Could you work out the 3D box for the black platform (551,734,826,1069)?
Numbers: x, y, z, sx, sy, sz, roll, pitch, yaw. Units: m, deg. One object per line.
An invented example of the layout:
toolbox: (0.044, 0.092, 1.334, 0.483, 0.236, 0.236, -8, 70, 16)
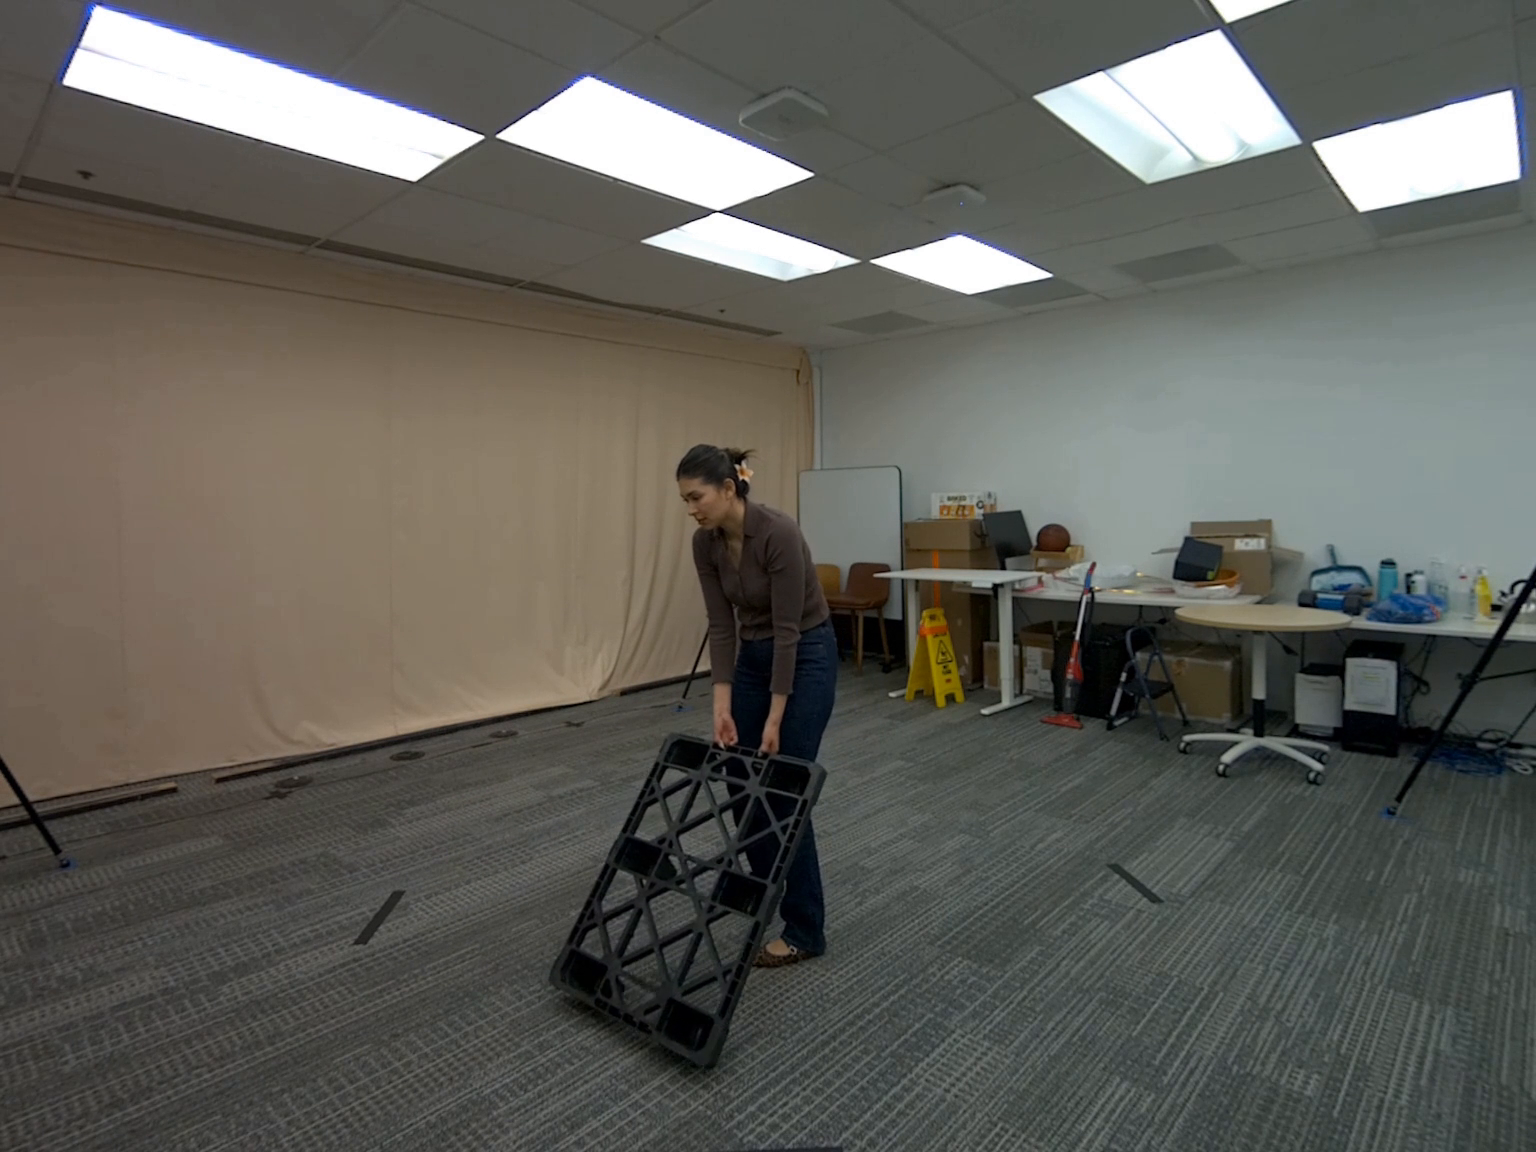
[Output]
black platform: (-0.201, 0.872, 2.399, 0.625, 0.807, 0.138, 3, -35, 38)
